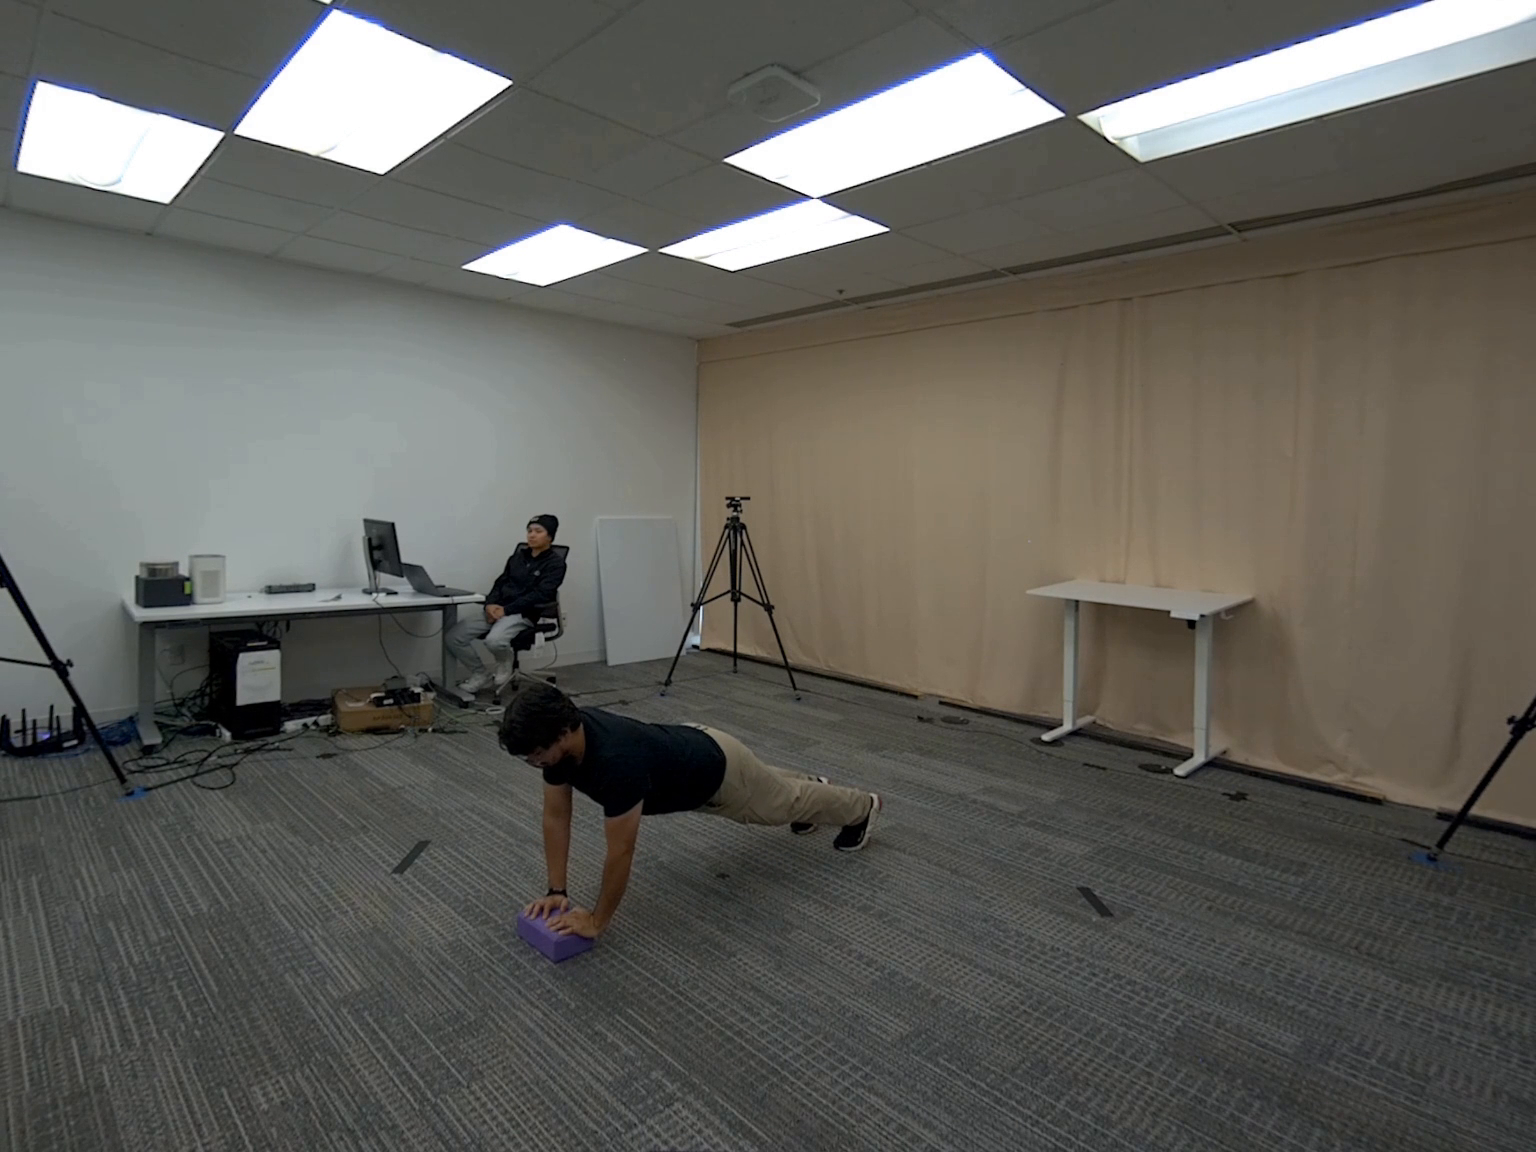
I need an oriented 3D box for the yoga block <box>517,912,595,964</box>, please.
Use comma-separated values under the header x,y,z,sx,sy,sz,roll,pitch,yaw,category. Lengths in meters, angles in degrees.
x,y,z,sx,sy,sz,roll,pitch,yaw,category
-0.672,1.108,2.618,0.235,0.076,0.146,6,8,44,yoga block
